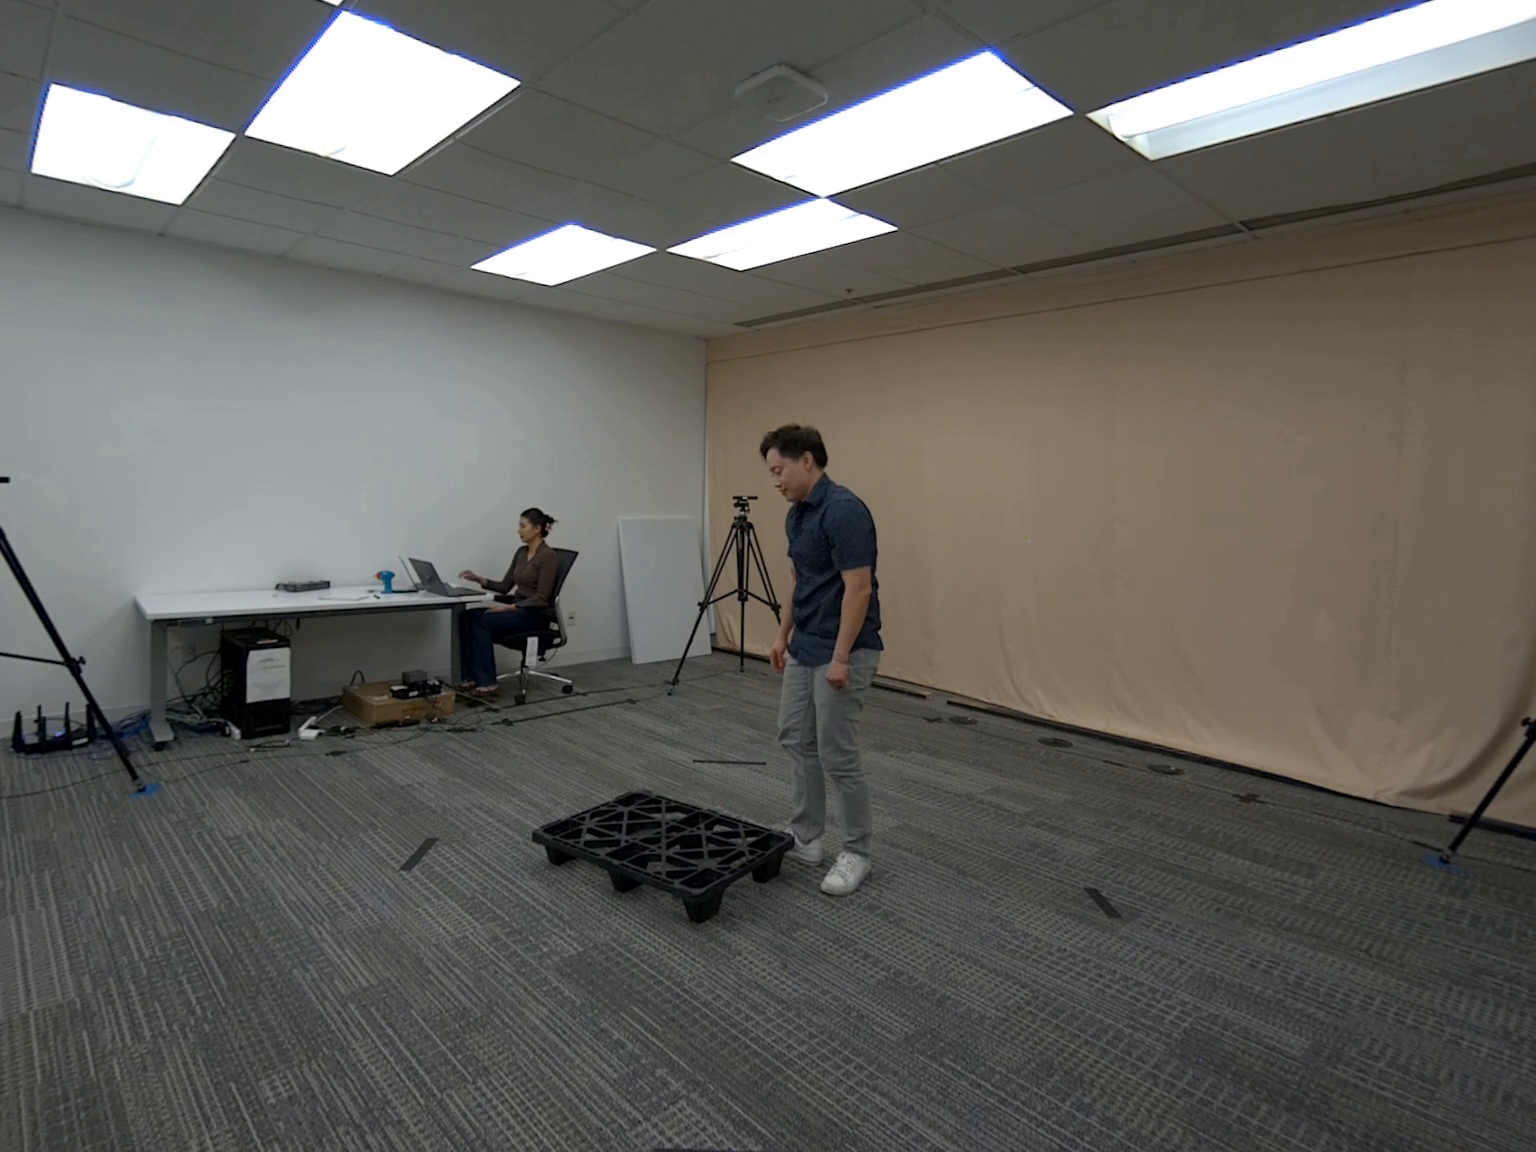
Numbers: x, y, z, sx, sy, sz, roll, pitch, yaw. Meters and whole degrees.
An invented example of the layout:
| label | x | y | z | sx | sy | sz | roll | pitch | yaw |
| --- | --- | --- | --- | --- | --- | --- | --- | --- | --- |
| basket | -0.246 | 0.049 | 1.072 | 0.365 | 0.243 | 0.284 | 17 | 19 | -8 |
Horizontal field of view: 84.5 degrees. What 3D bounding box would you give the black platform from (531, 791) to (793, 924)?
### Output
| label | x | y | z | sx | sy | sz | roll | pitch | yaw |
| --- | --- | --- | --- | --- | --- | --- | --- | --- | --- |
| black platform | -0.394 | 1.026 | 3.133 | 0.825 | 0.143 | 0.593 | 5 | 7 | 36 |
